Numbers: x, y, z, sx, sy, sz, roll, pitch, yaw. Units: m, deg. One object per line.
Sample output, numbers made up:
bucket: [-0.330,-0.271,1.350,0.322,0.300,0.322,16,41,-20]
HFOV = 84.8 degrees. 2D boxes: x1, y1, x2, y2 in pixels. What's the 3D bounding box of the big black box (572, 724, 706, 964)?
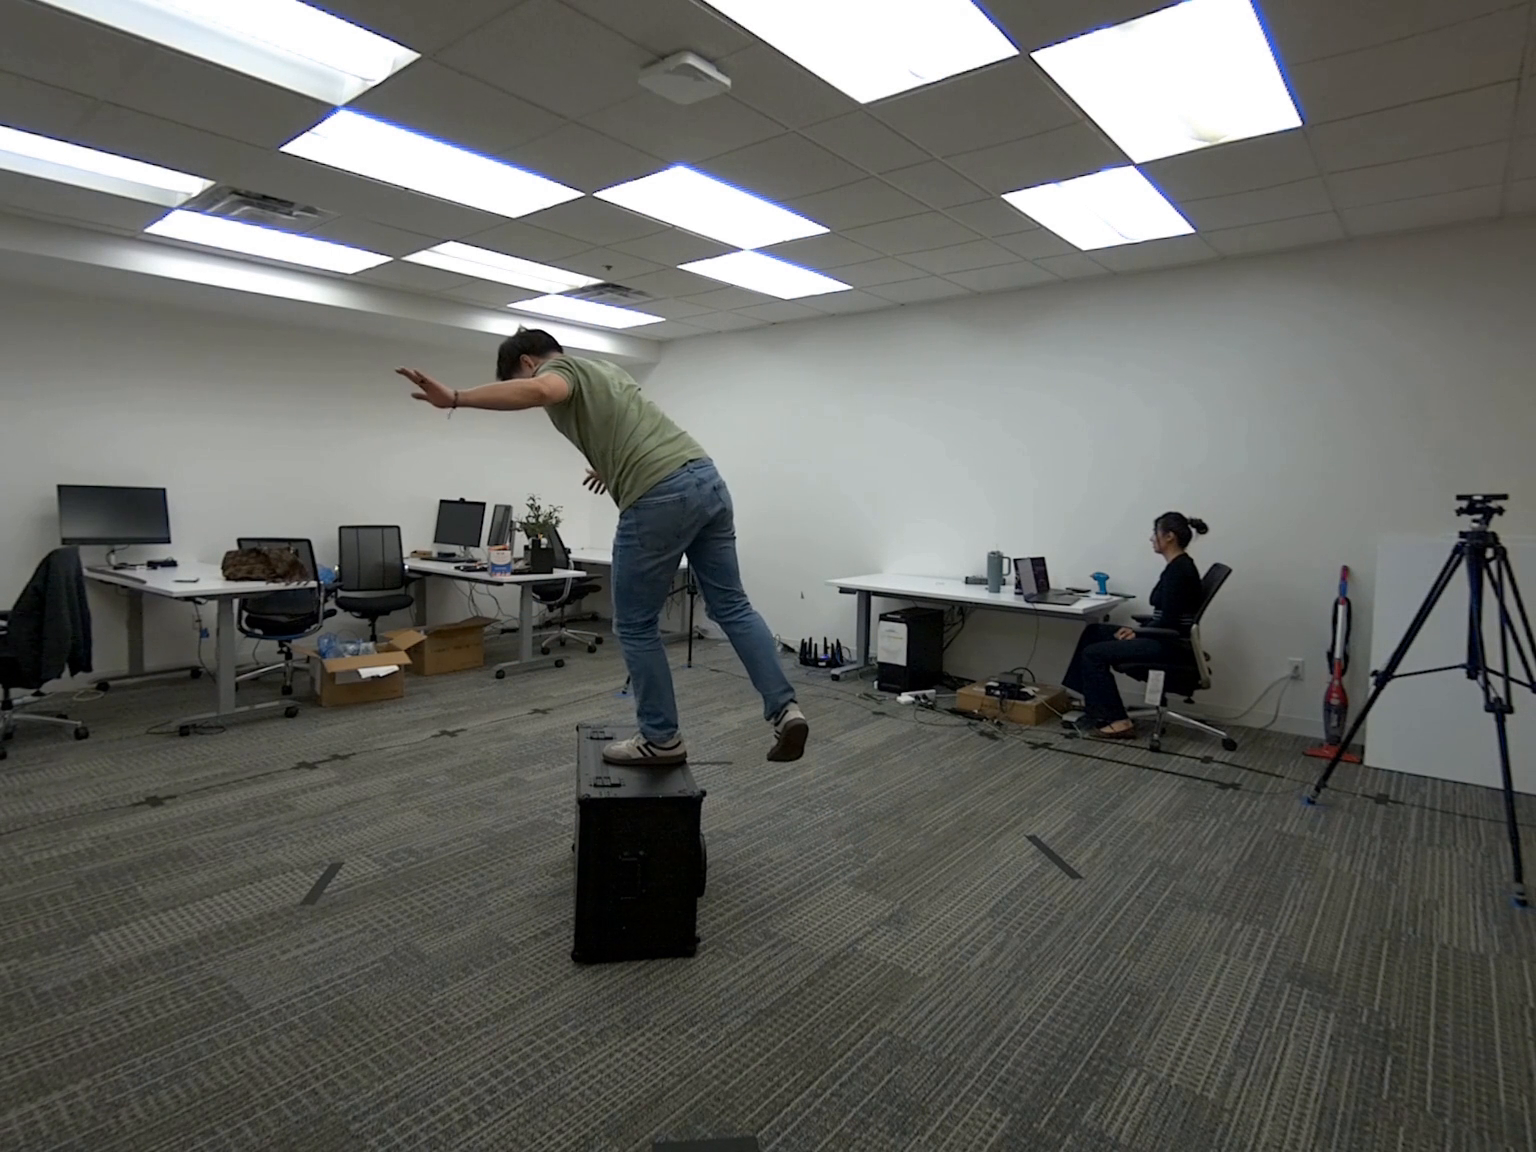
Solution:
big black box: [-0.467,0.830,2.886,0.391,0.520,0.876,2,4,-13]
